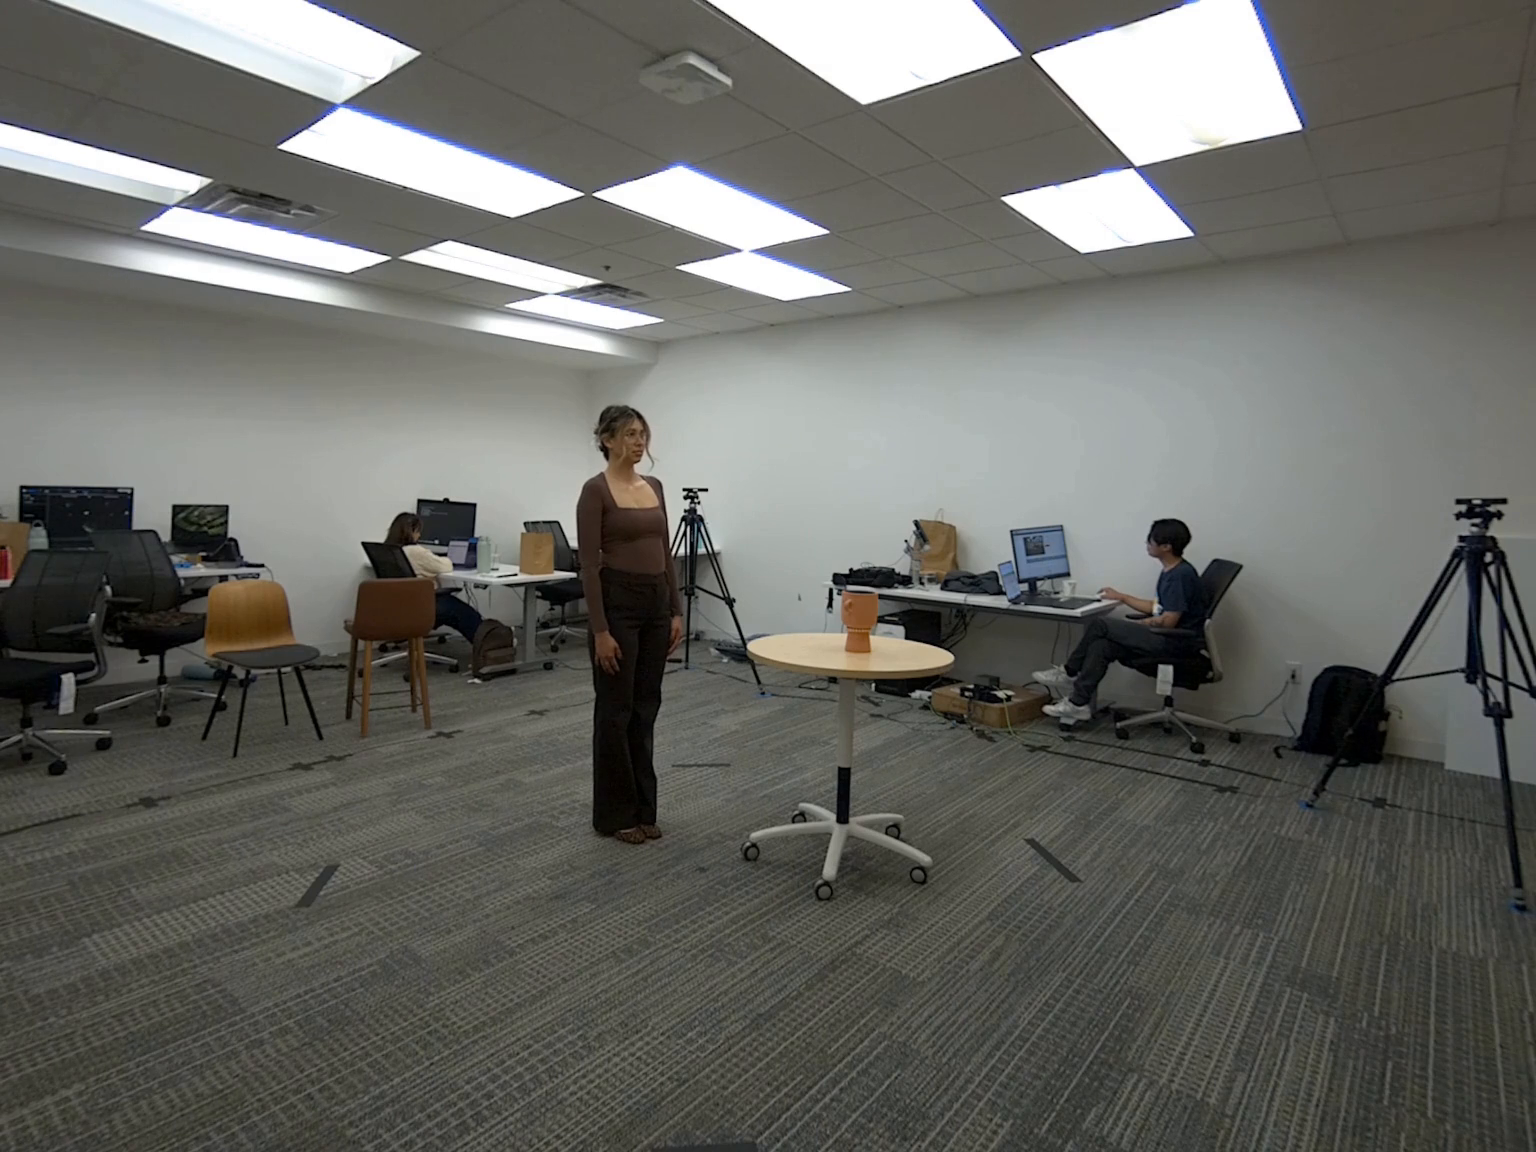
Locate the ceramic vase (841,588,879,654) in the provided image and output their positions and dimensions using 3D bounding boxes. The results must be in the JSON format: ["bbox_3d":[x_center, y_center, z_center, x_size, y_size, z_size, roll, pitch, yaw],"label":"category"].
[{"bbox_3d":[0.337,0.168,3.191,0.157,0.219,0.137,3,3,-13],"label":"ceramic vase"}]
